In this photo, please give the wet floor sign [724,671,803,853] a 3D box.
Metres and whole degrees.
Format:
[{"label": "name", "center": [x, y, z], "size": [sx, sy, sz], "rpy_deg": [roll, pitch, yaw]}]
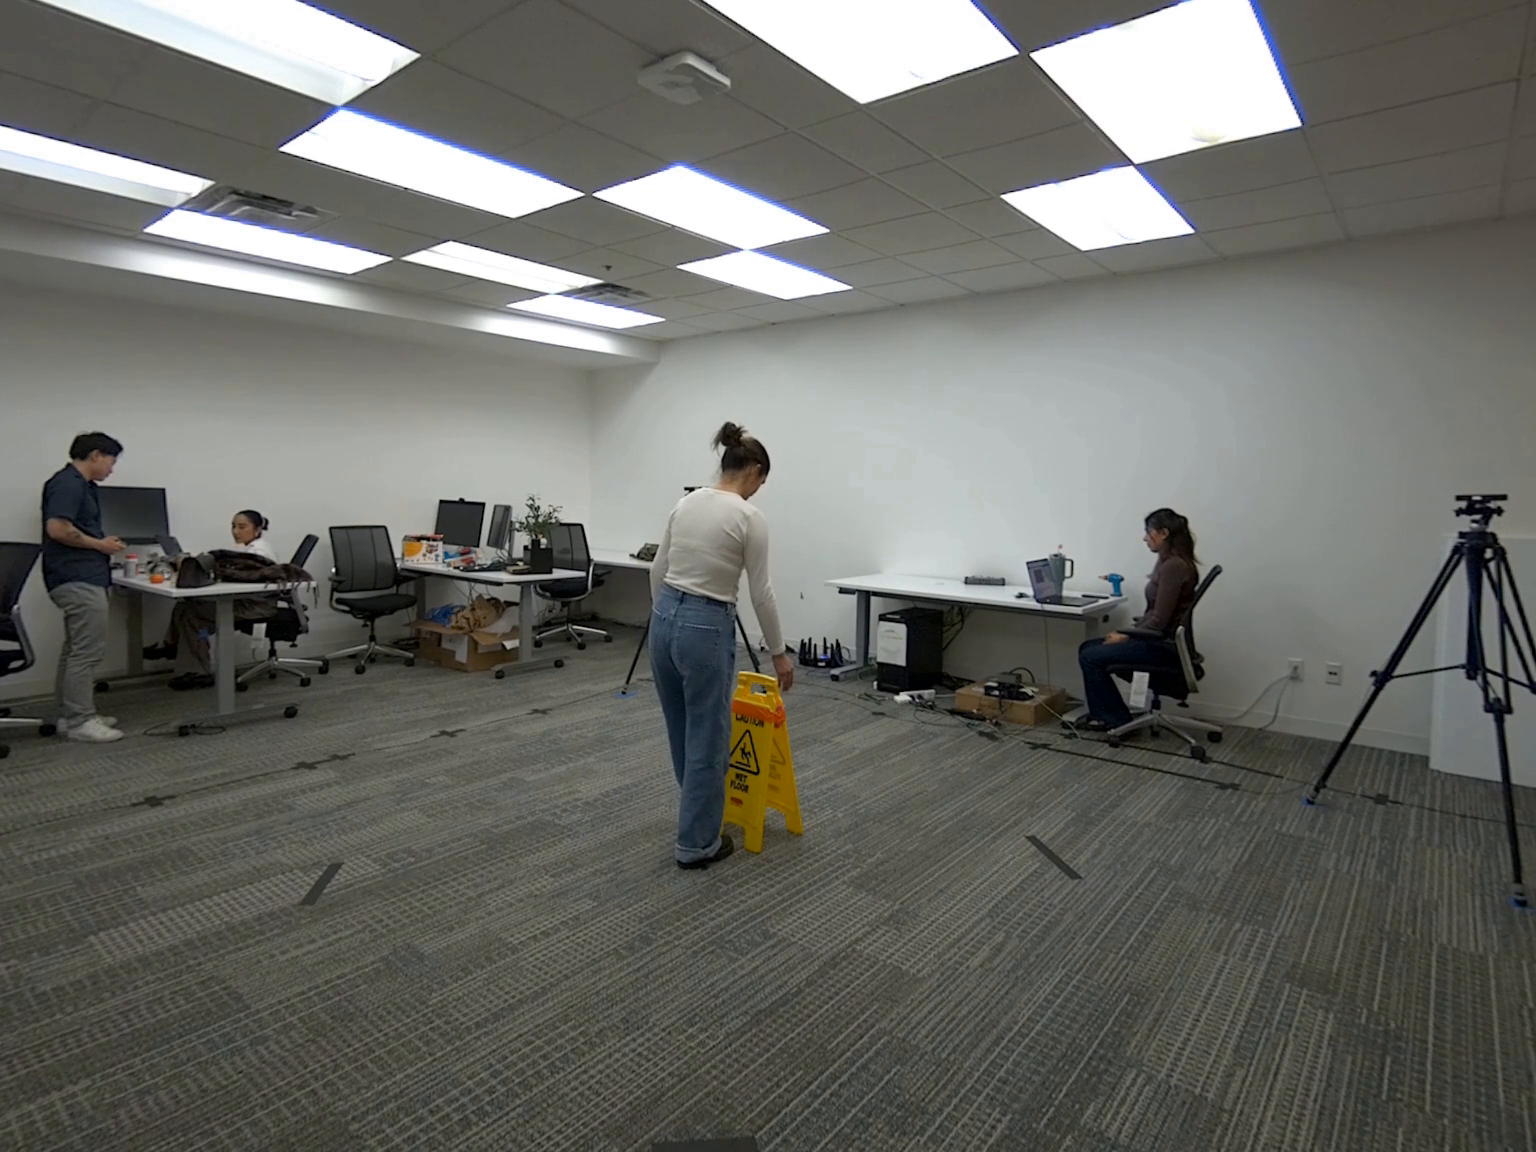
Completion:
[{"label": "wet floor sign", "center": [-0.057, 0.713, 3.410], "size": [0.292, 0.644, 0.281], "rpy_deg": [3, 4, 42]}]
